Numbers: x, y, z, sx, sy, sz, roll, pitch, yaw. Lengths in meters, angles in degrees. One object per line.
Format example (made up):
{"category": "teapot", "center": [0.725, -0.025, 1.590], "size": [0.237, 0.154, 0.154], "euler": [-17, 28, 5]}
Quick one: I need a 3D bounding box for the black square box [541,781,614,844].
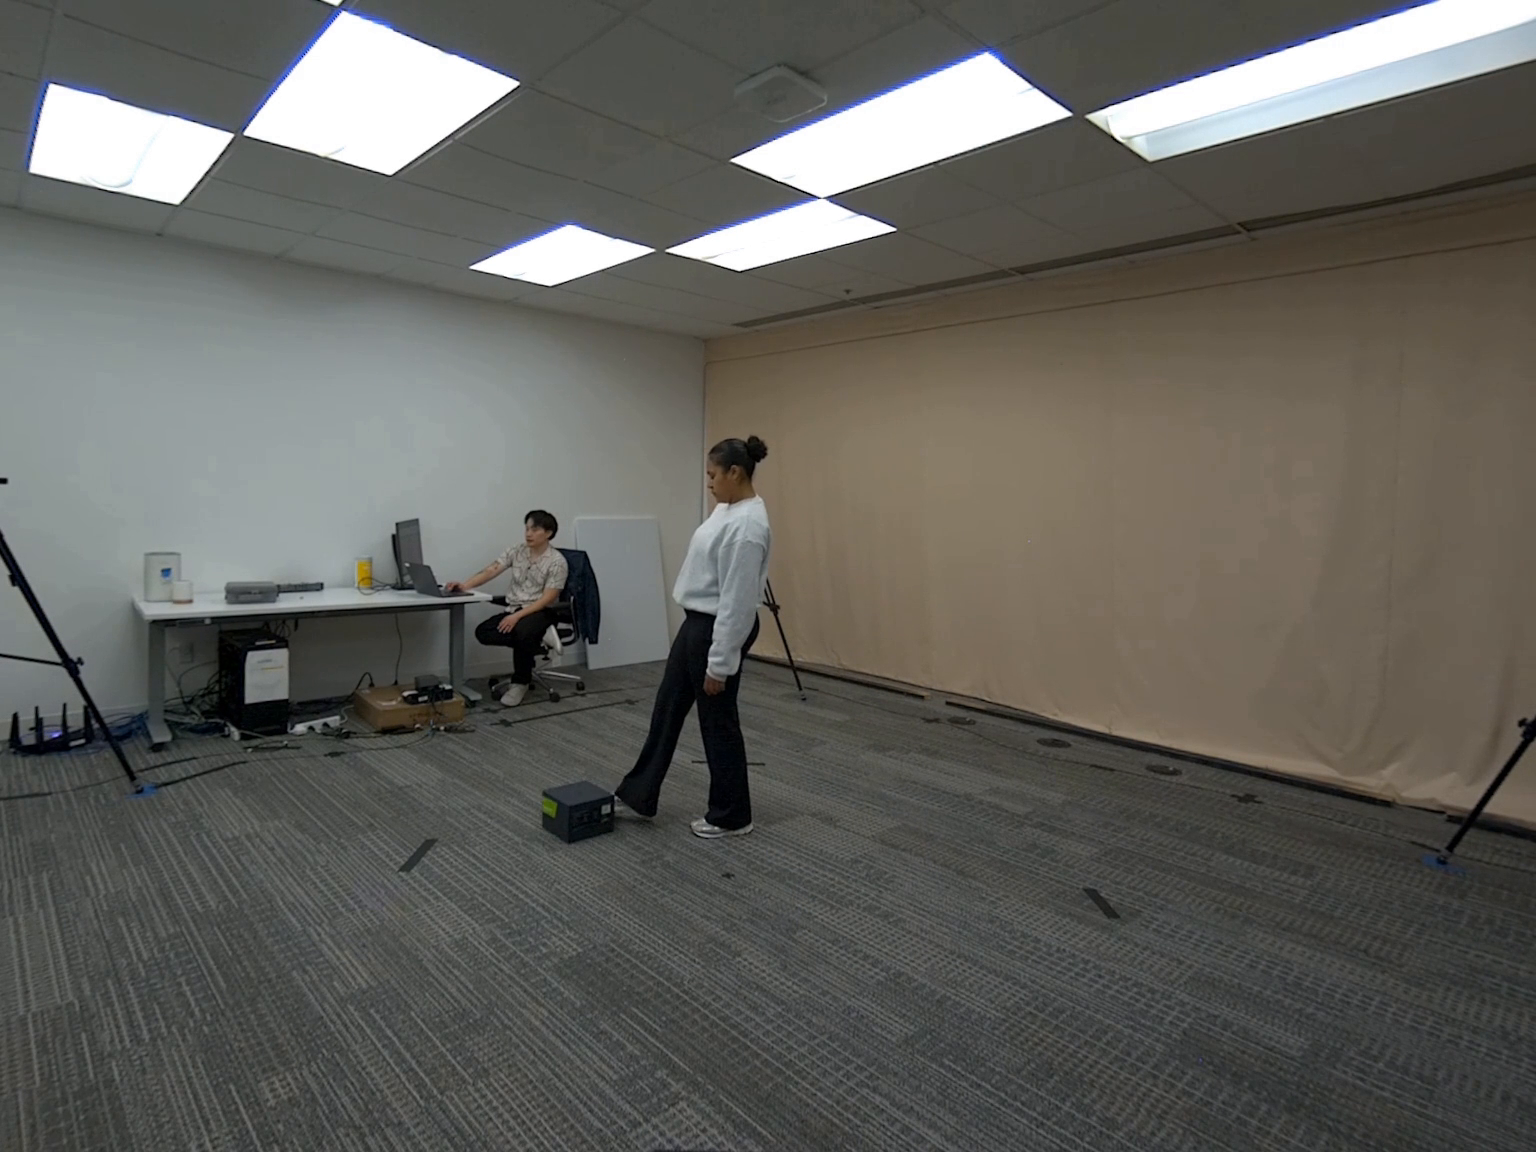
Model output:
{"category": "black square box", "center": [-0.796, 0.972, 3.493], "size": [0.212, 0.155, 0.234], "euler": [-3, 7, -42]}
